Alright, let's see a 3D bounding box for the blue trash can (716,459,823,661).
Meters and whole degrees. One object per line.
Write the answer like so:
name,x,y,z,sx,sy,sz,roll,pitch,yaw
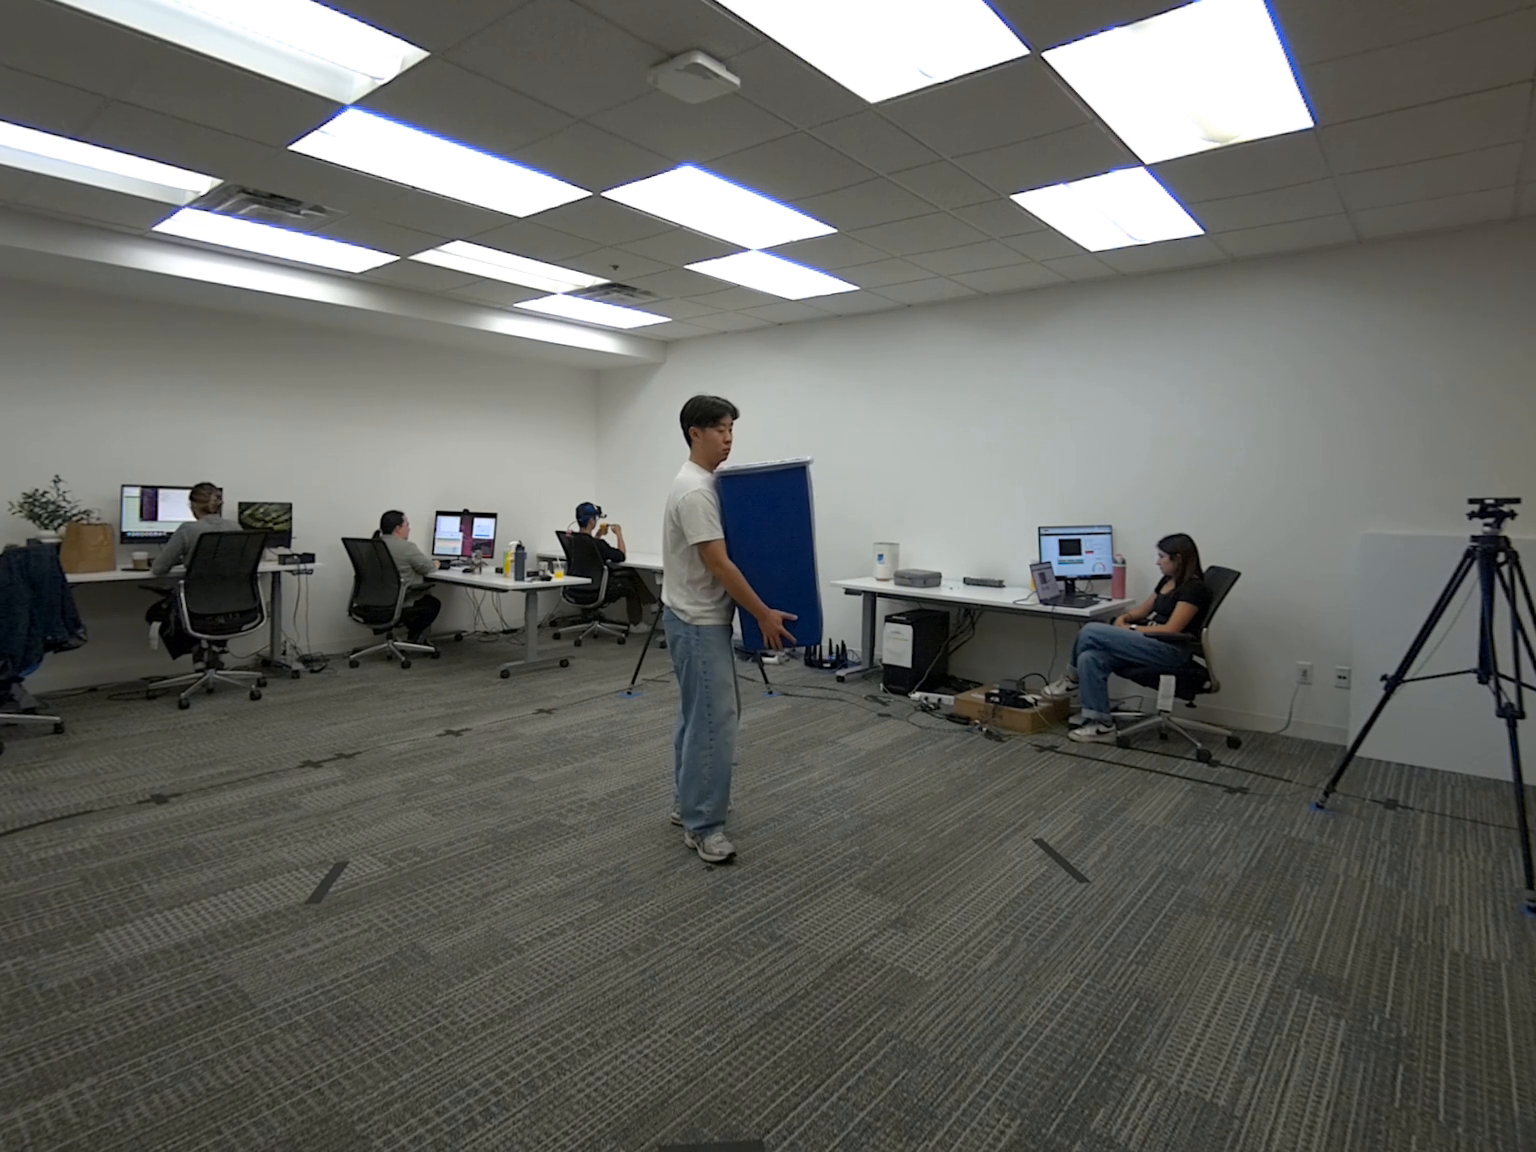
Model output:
blue trash can,0.021,-0.100,3.378,0.381,0.711,0.372,-6,4,8
